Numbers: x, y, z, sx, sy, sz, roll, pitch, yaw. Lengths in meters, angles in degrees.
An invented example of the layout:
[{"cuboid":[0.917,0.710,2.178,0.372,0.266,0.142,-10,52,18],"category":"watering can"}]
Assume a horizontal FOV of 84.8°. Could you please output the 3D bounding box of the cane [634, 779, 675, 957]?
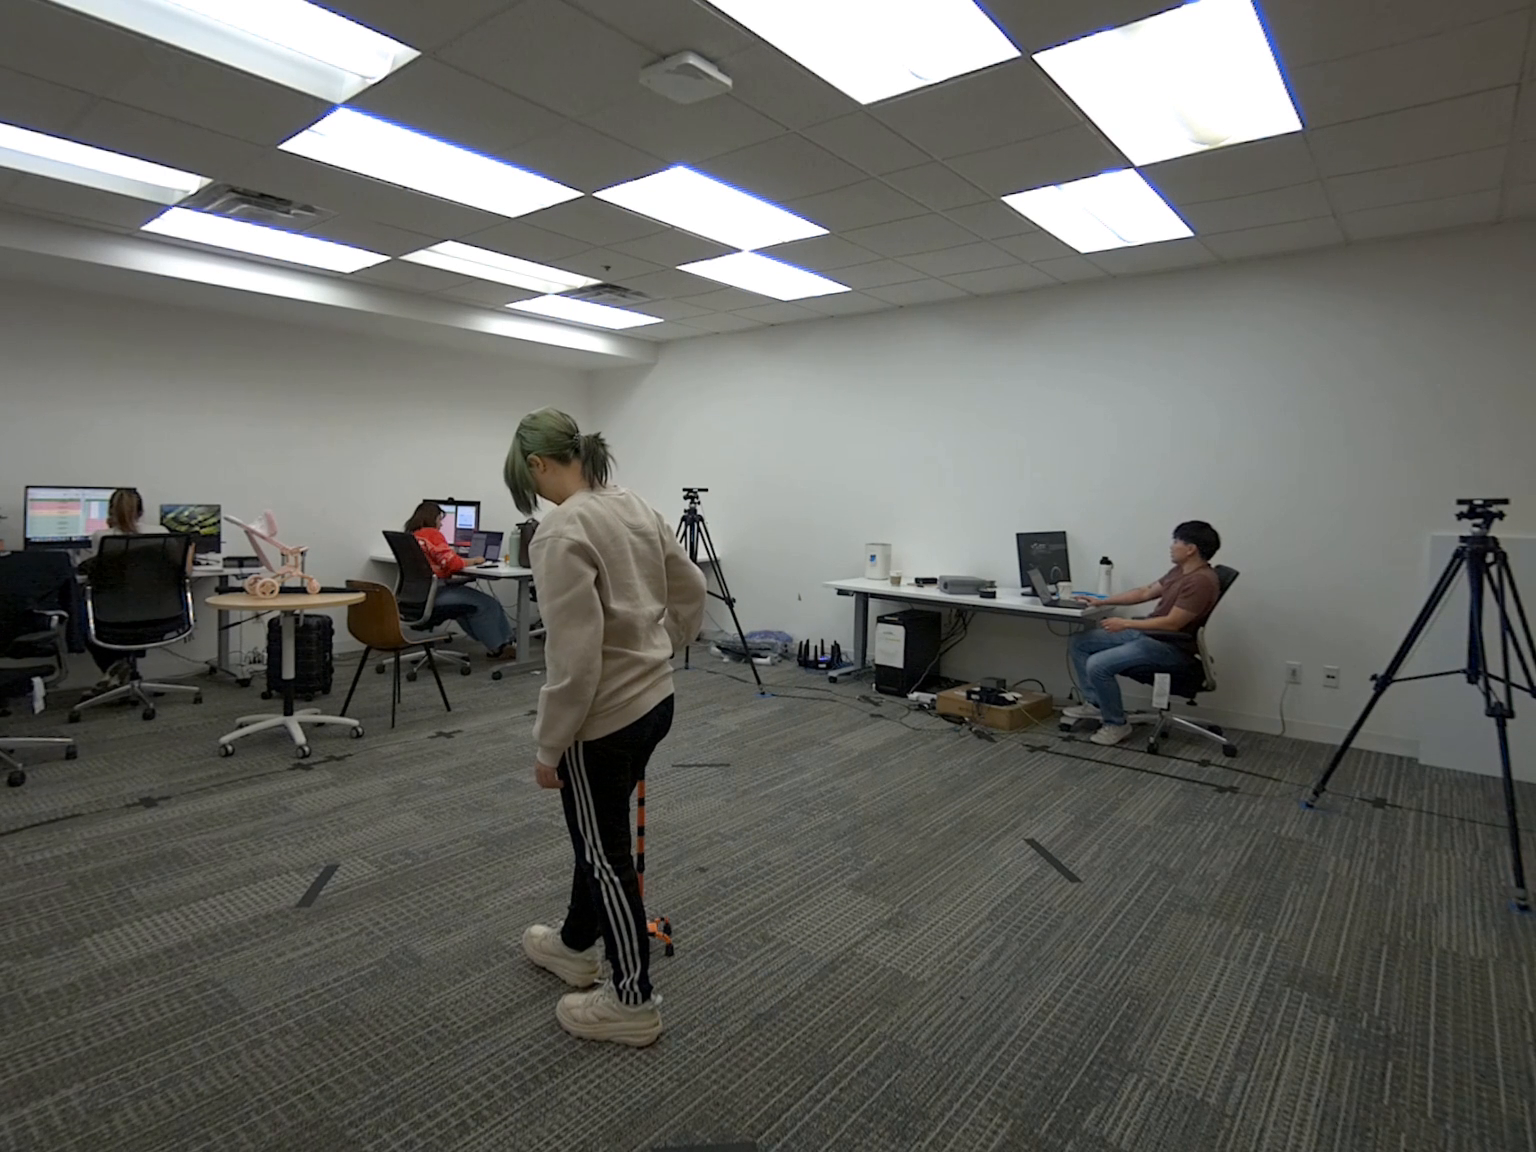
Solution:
[{"cuboid":[-0.388,0.668,2.569,0.205,0.907,0.153,0,1,-8],"category":"cane"}]
